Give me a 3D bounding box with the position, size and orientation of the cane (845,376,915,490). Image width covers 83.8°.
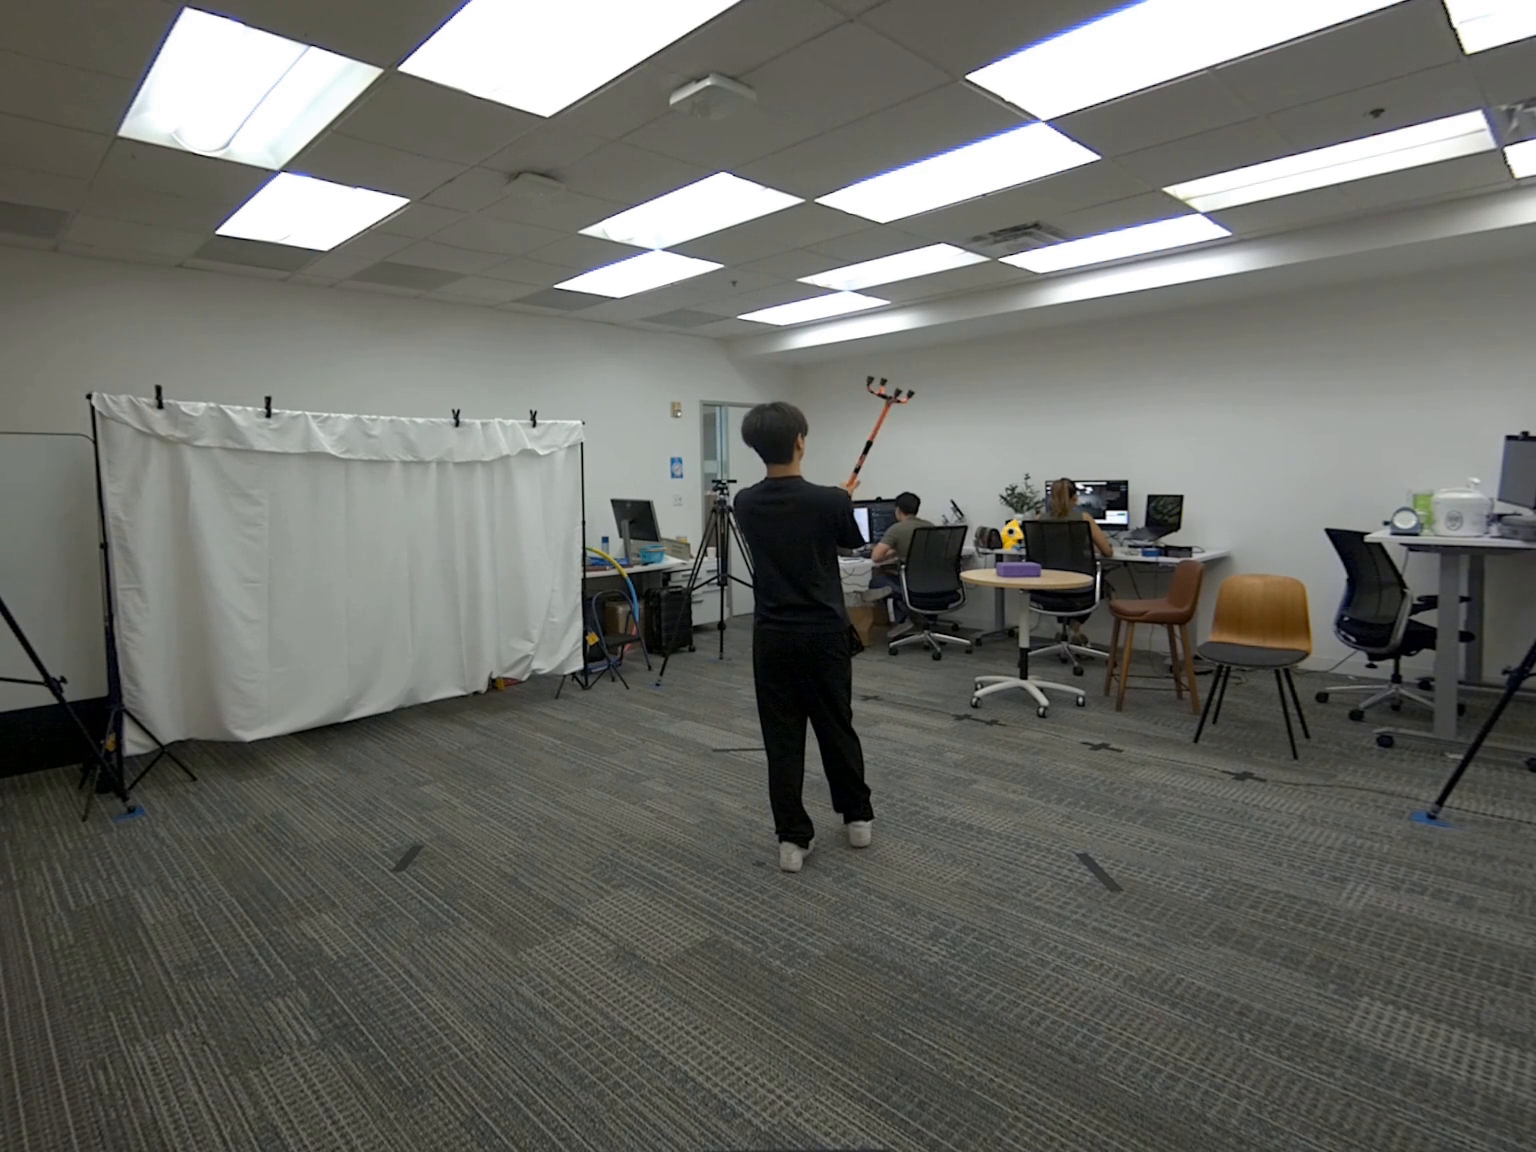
[{"bbox_3d":[0.321,-0.362,3.482,0.155,0.901,0.203,30,18,19],"label":"cane"}]
